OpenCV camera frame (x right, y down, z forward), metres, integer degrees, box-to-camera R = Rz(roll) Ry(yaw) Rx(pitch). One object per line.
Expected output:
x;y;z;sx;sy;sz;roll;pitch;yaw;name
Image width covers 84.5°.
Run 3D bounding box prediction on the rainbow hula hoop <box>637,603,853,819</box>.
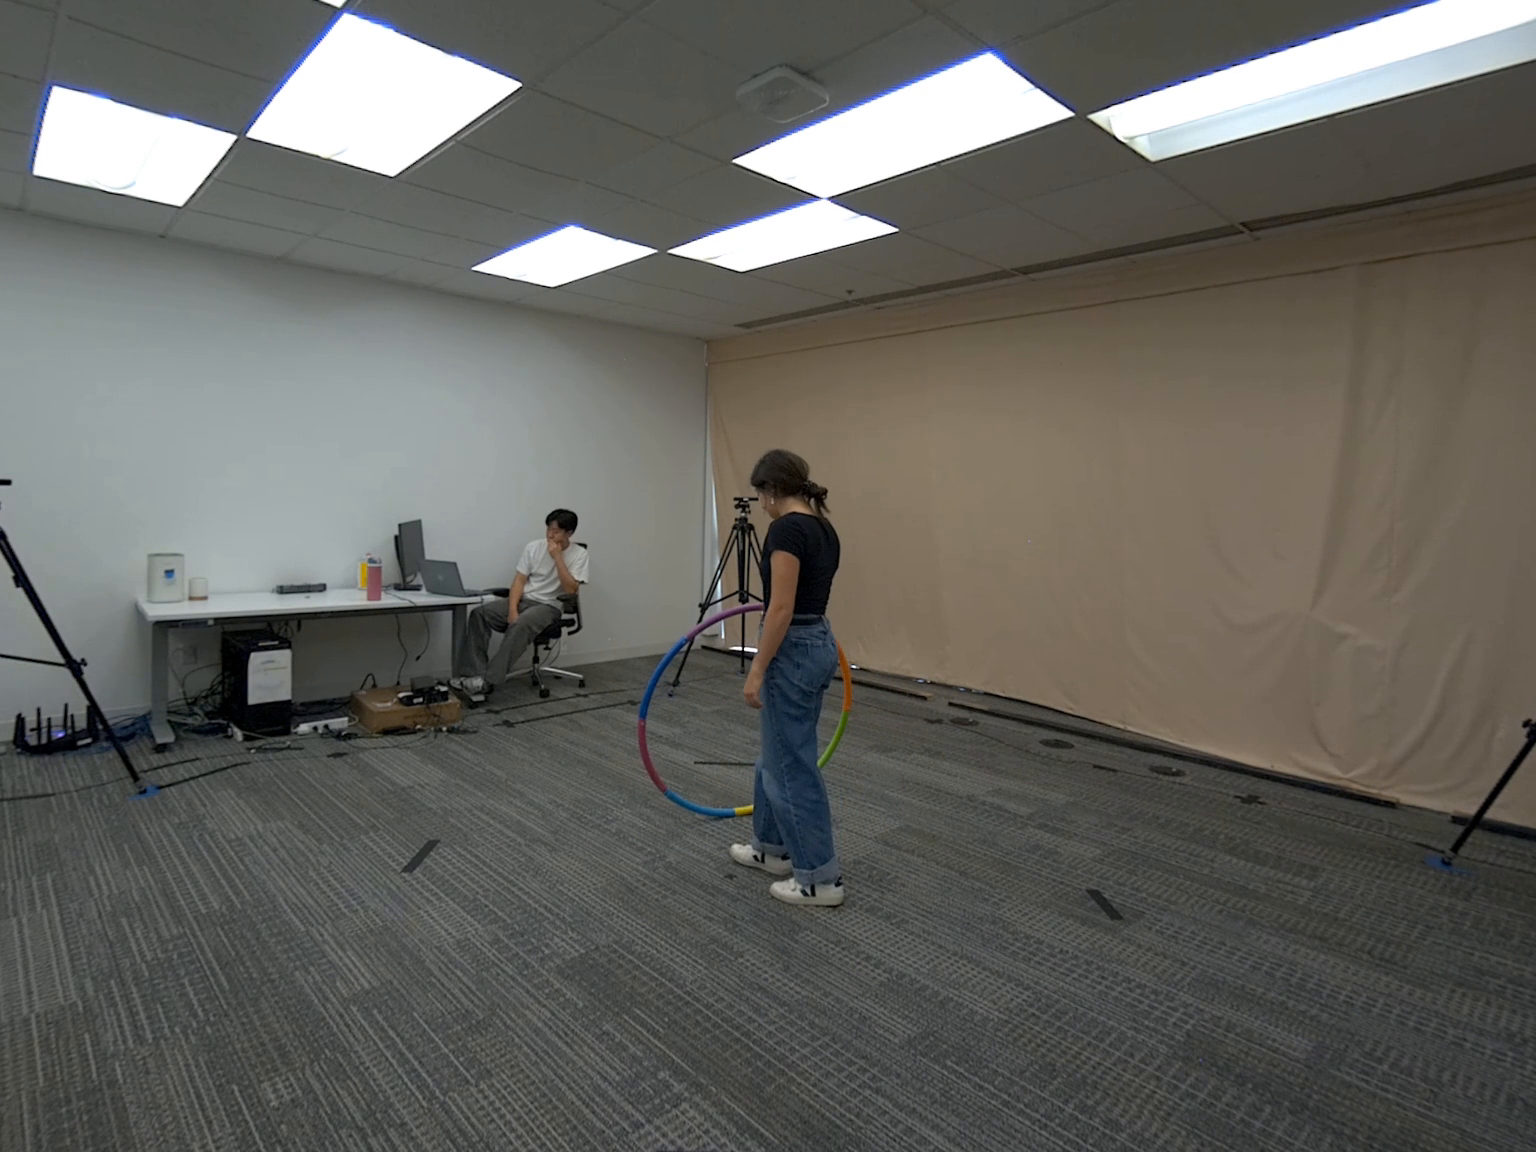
-0.088;0.586;3.608;0.962;0.970;0.036;0;14;-24;rainbow hula hoop
